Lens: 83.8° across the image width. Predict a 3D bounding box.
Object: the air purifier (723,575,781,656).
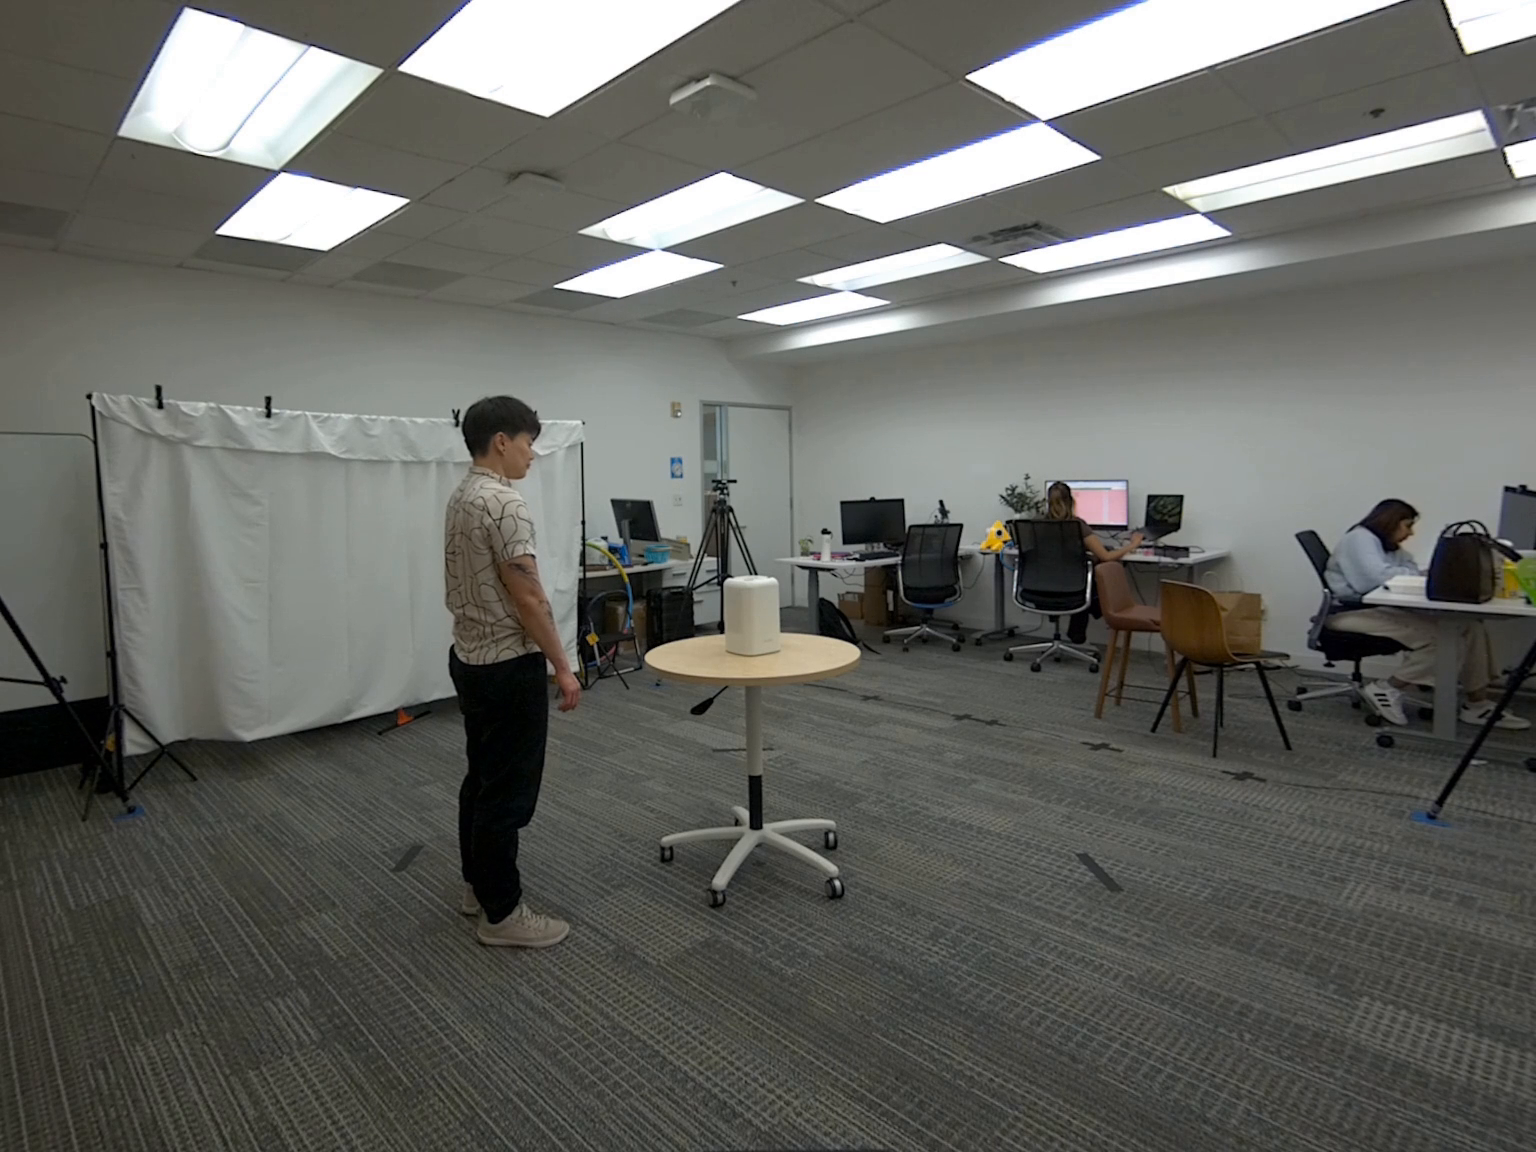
[{"bbox_3d":[-0.056,0.135,3.075,0.166,0.264,0.177,-4,5,-37],"label":"air purifier"}]
